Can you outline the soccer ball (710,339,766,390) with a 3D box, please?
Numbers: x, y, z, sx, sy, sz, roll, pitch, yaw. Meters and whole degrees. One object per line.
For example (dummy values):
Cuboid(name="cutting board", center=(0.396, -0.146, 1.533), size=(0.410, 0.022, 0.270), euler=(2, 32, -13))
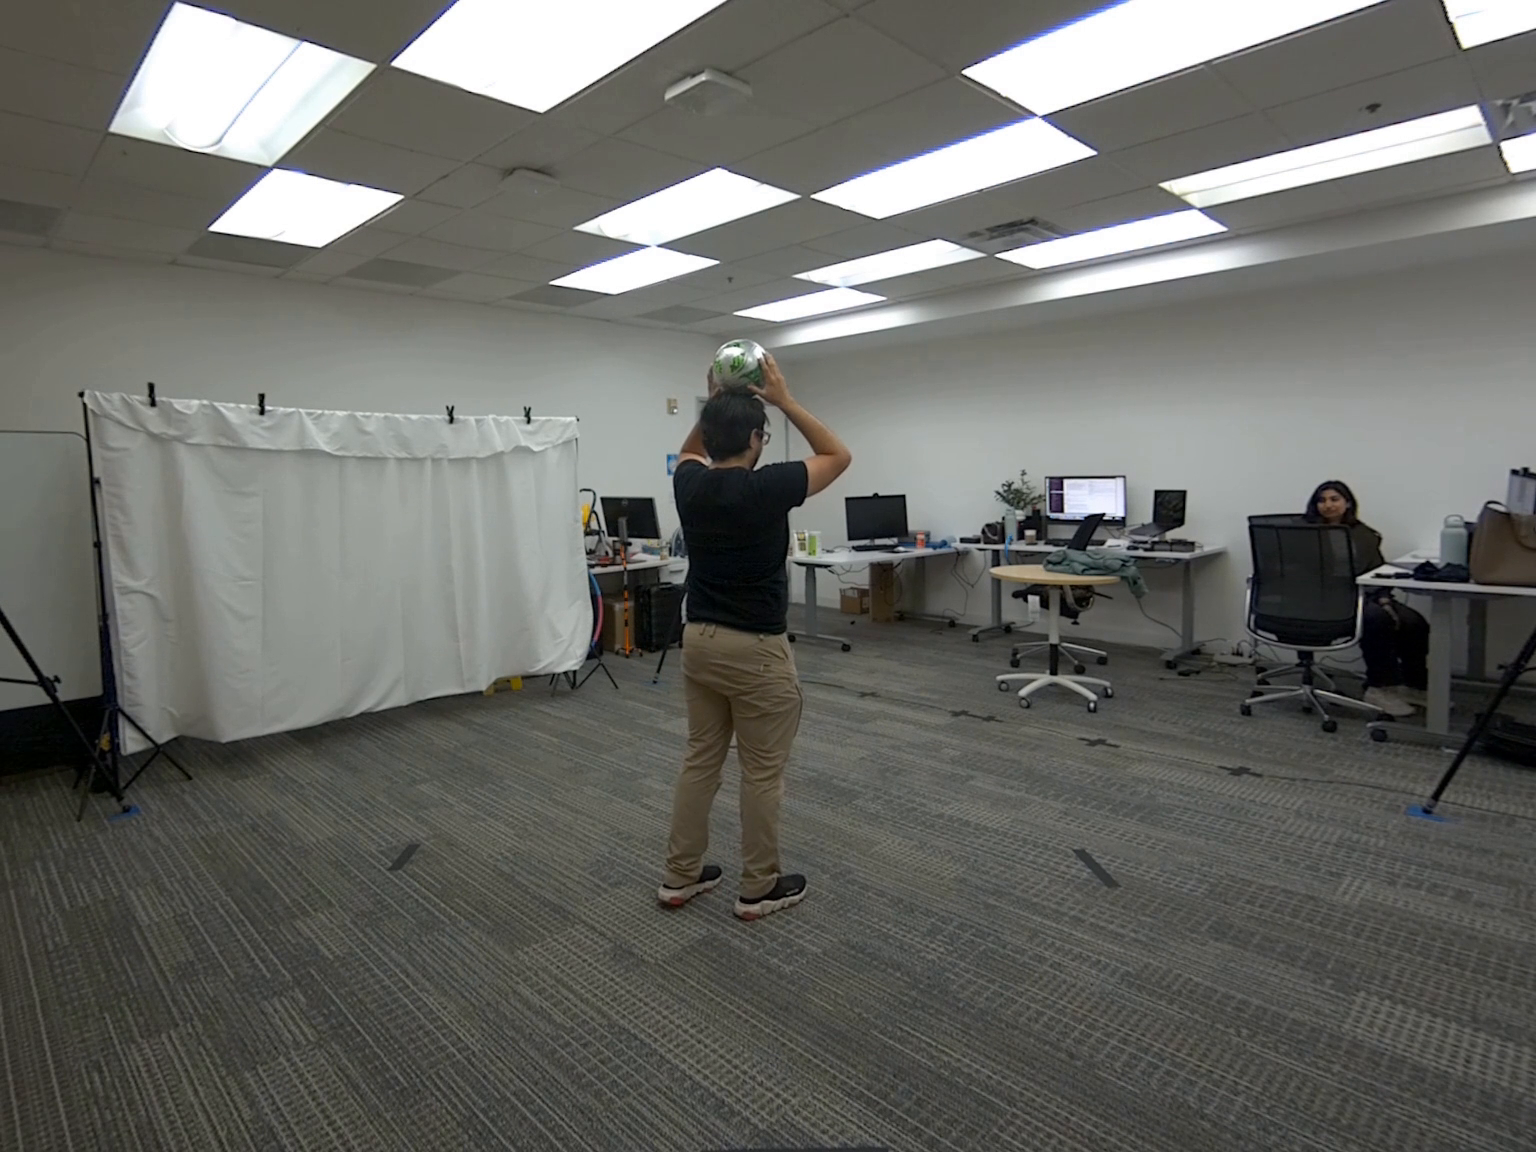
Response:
Cuboid(name="soccer ball", center=(-0.083, -0.657, 2.734), size=(0.187, 0.187, 0.188), euler=(-1, 5, -2))
